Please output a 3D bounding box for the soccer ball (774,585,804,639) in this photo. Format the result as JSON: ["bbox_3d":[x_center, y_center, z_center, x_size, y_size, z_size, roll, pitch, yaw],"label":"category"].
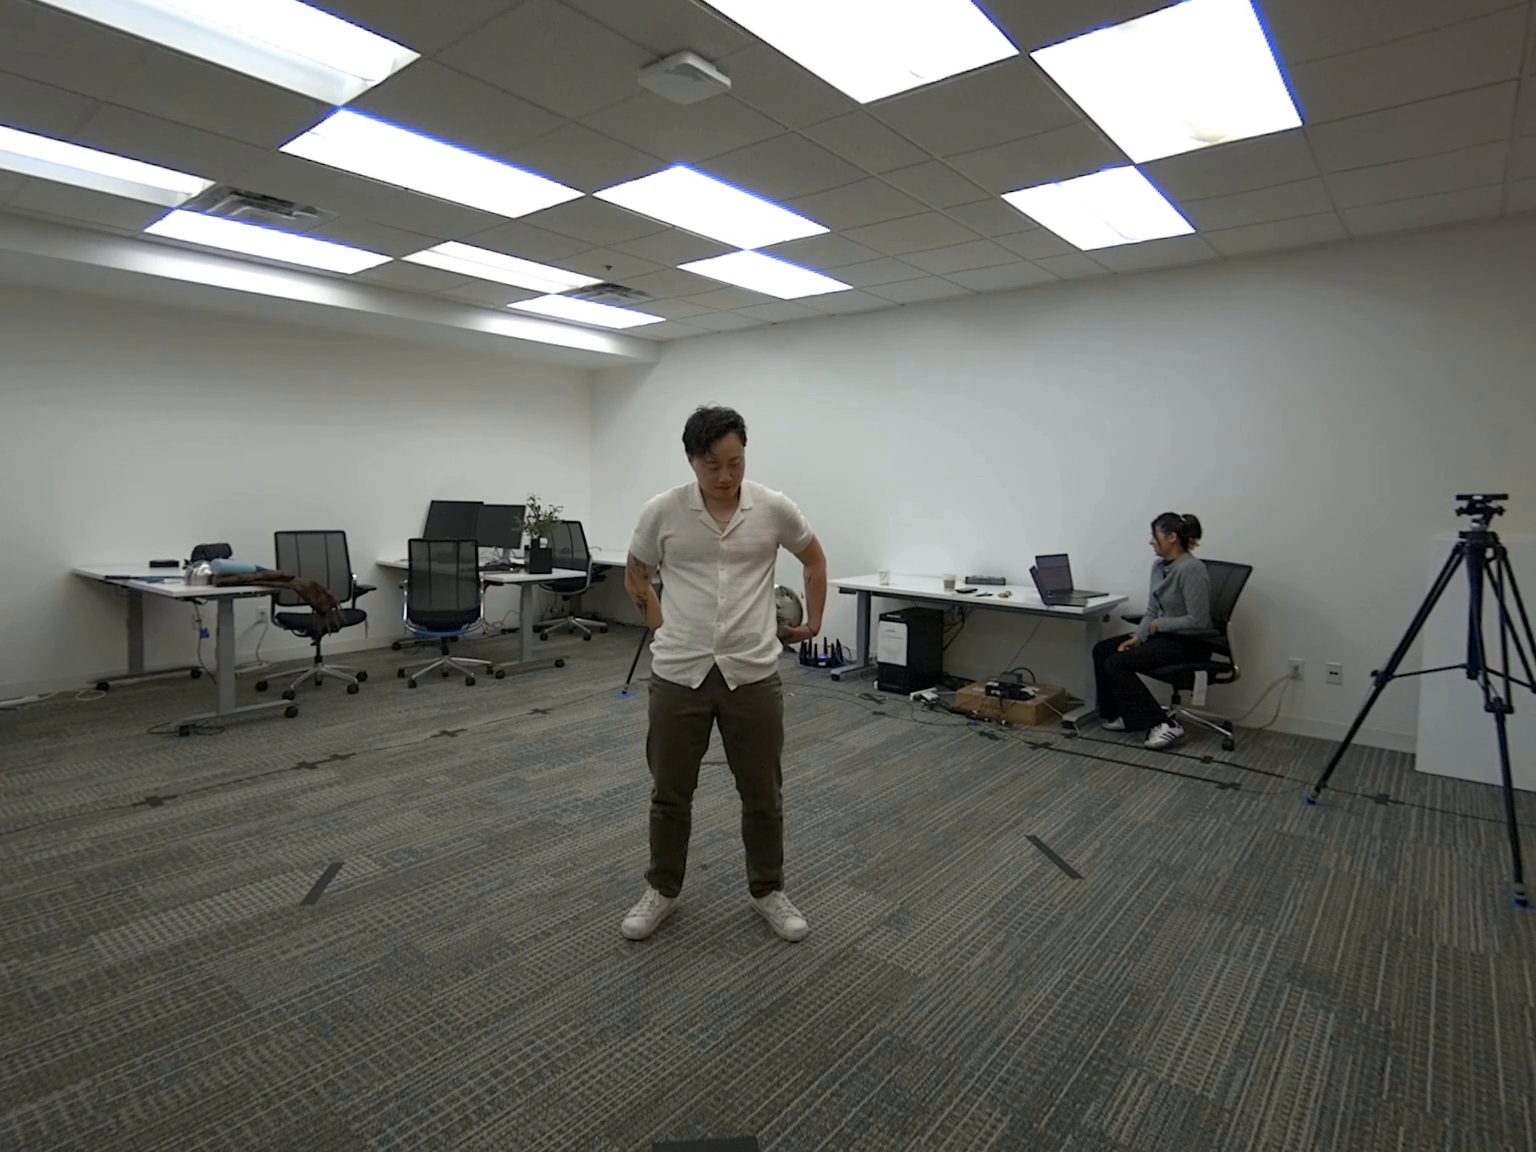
[{"bbox_3d":[0.020,0.120,2.847,0.187,0.187,0.188,1,4,-2],"label":"soccer ball"}]
